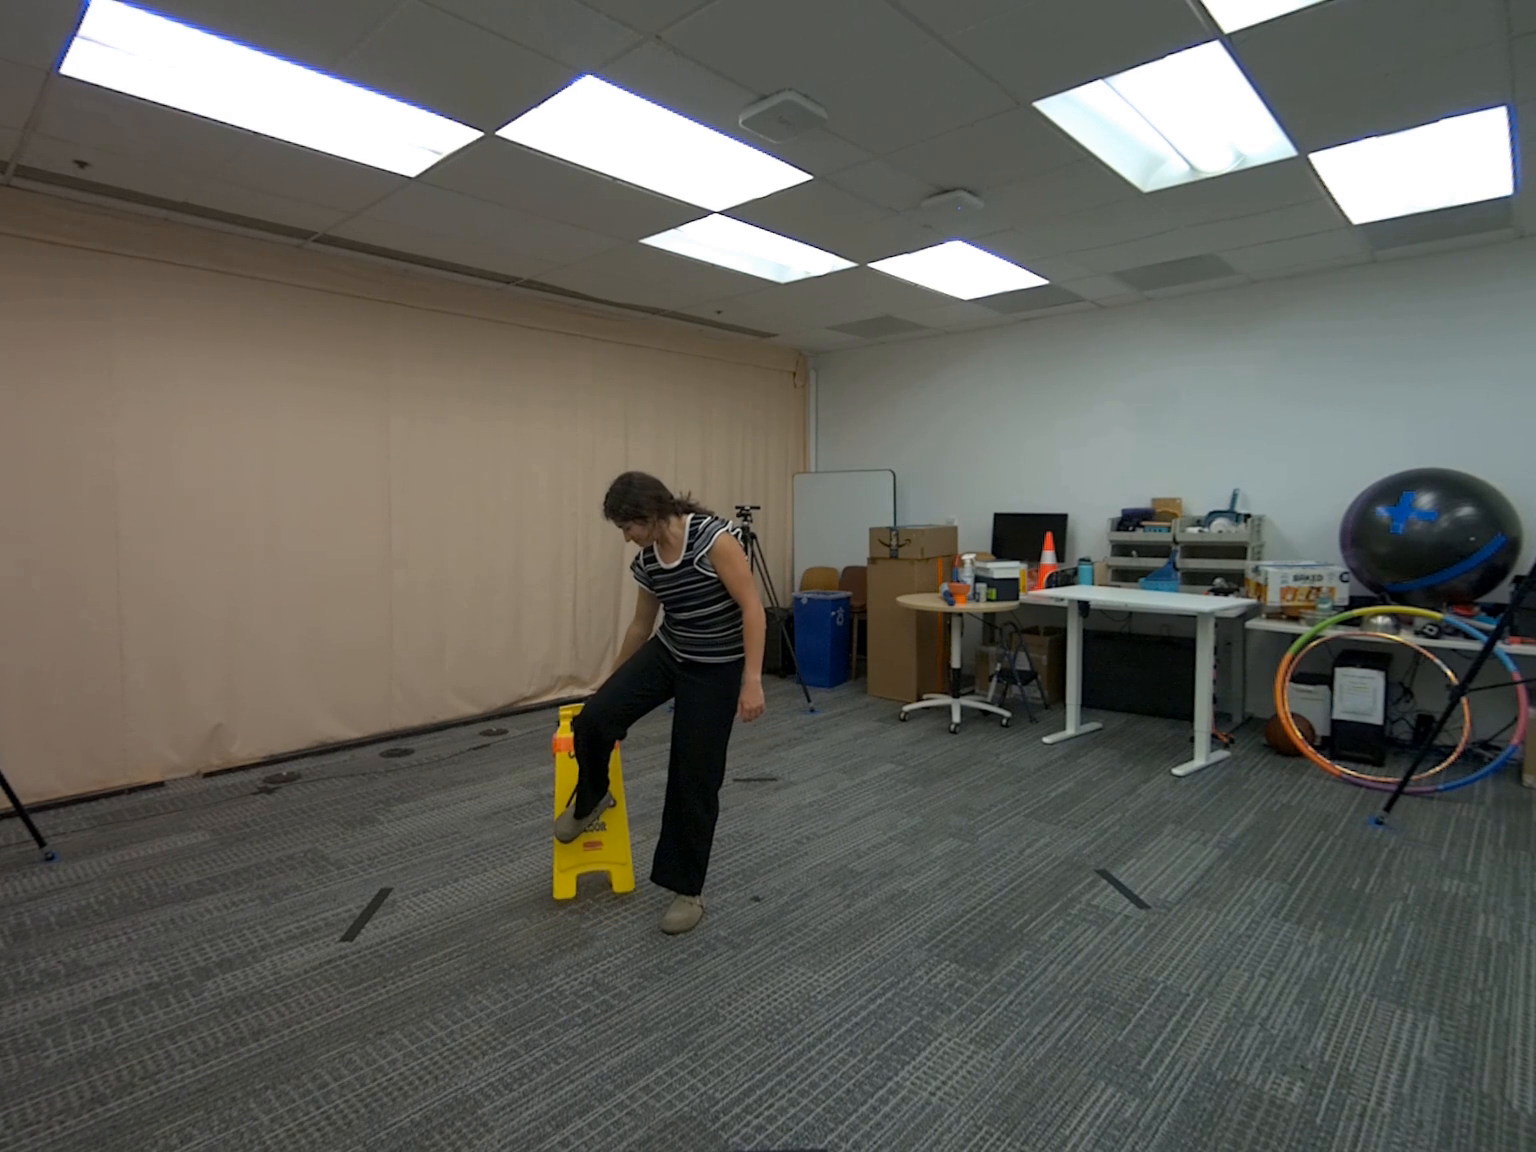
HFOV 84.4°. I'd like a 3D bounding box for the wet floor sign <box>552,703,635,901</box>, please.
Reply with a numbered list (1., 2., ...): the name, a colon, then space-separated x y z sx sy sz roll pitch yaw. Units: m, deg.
1. wet floor sign: -0.645 0.806 3.067 0.278 0.651 0.291 -1 -12 -14
